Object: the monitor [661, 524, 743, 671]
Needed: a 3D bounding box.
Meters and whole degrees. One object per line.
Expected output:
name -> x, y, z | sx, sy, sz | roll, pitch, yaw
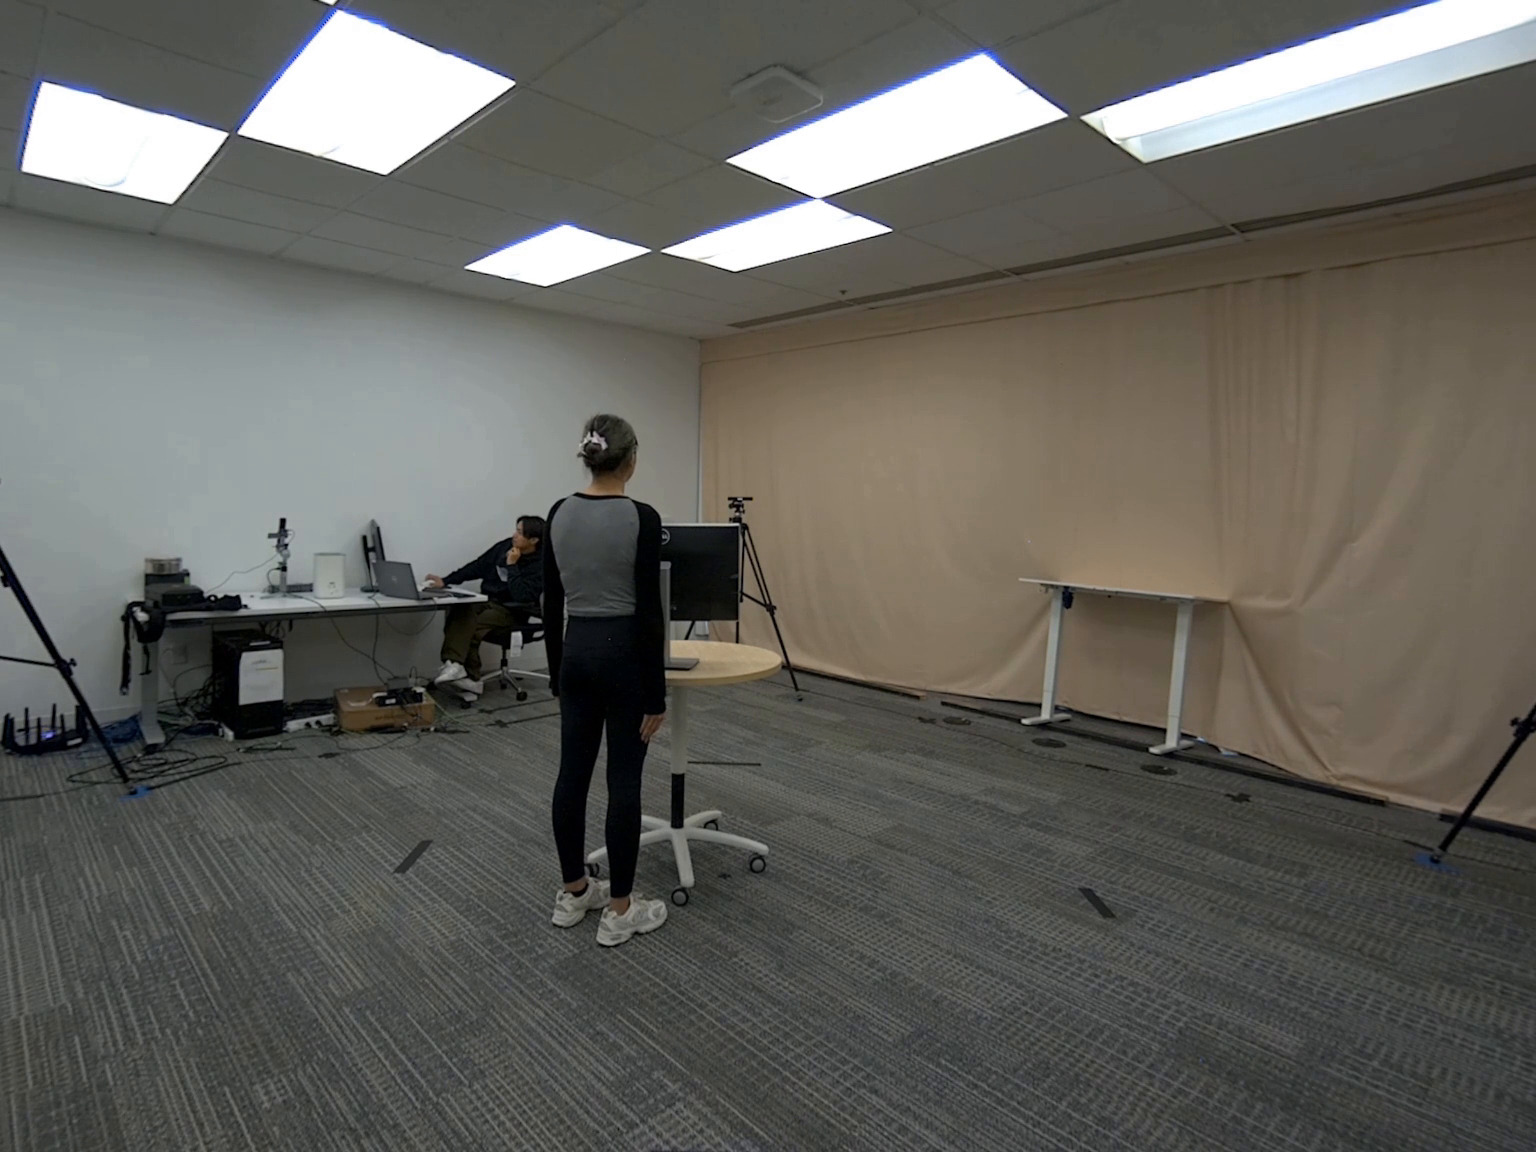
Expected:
monitor -> -0.382, 0.070, 3.008 | 0.538, 0.522, 0.187 | 0, 1, -2
